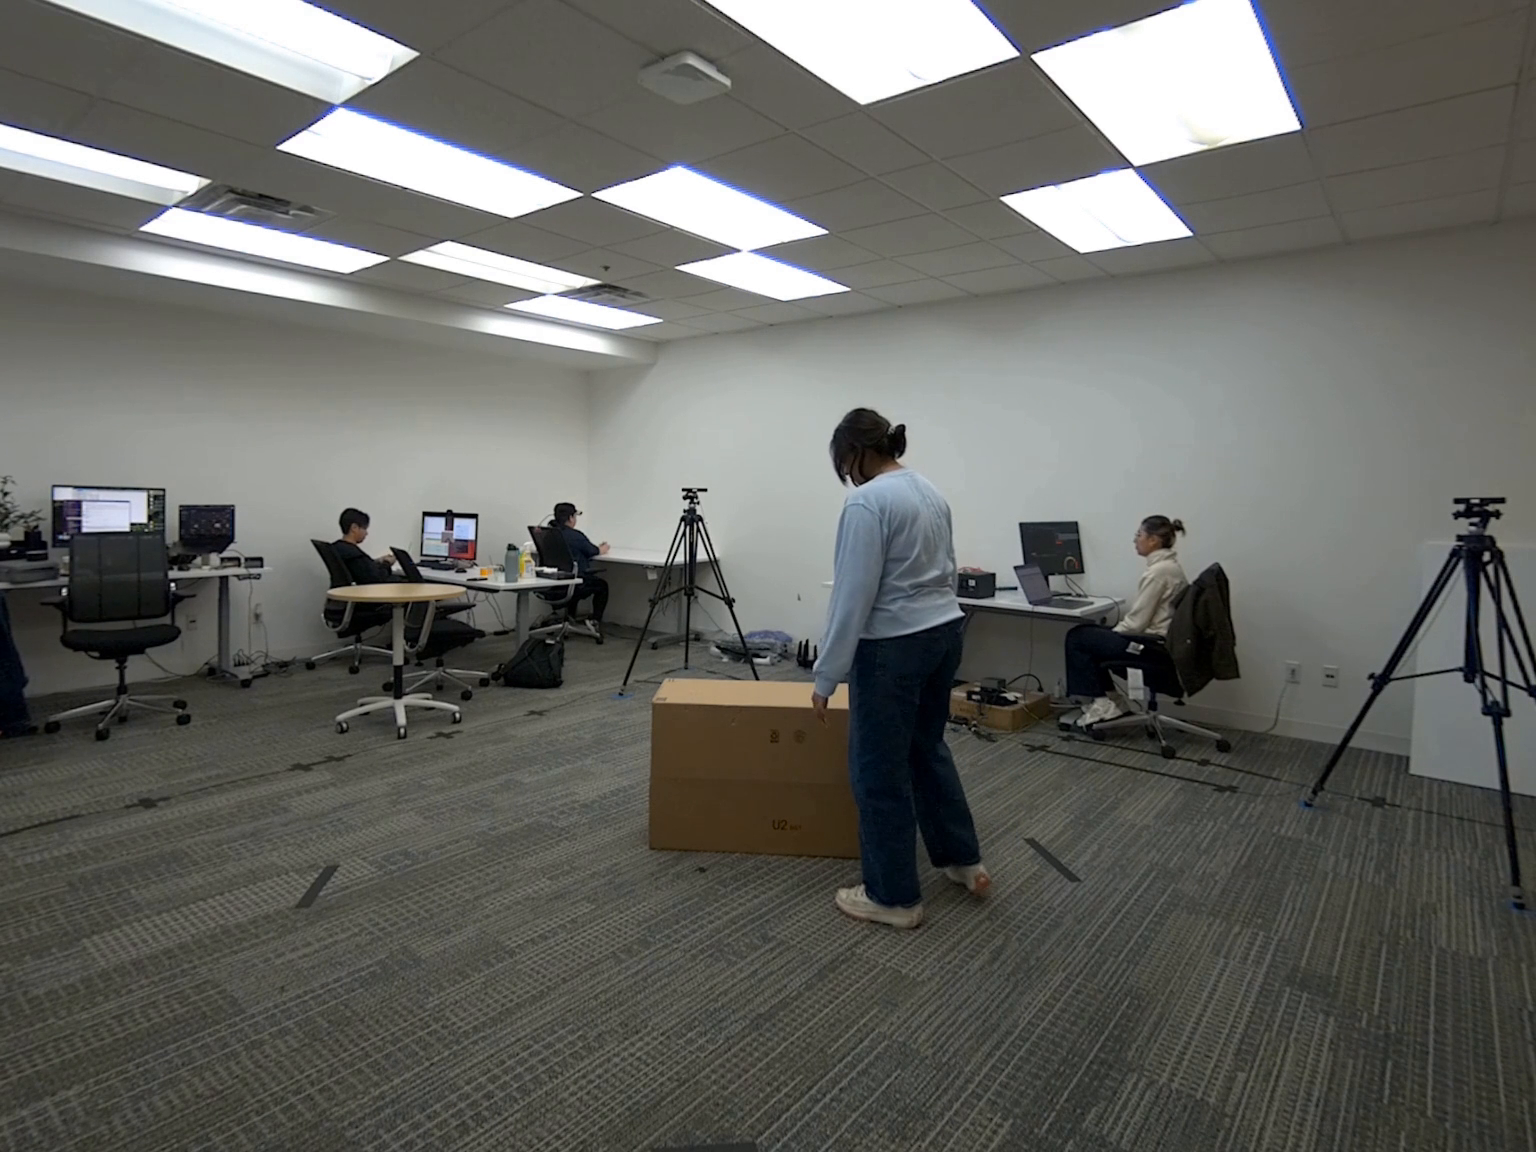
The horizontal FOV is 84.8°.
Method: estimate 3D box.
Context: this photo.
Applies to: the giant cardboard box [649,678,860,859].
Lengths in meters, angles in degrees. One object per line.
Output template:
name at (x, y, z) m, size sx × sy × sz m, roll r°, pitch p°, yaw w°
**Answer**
giant cardboard box at (0.047, 0.751, 3.436) m, size 1.030 × 0.576 × 0.425 m, roll 1°, pitch 3°, yaw 3°
